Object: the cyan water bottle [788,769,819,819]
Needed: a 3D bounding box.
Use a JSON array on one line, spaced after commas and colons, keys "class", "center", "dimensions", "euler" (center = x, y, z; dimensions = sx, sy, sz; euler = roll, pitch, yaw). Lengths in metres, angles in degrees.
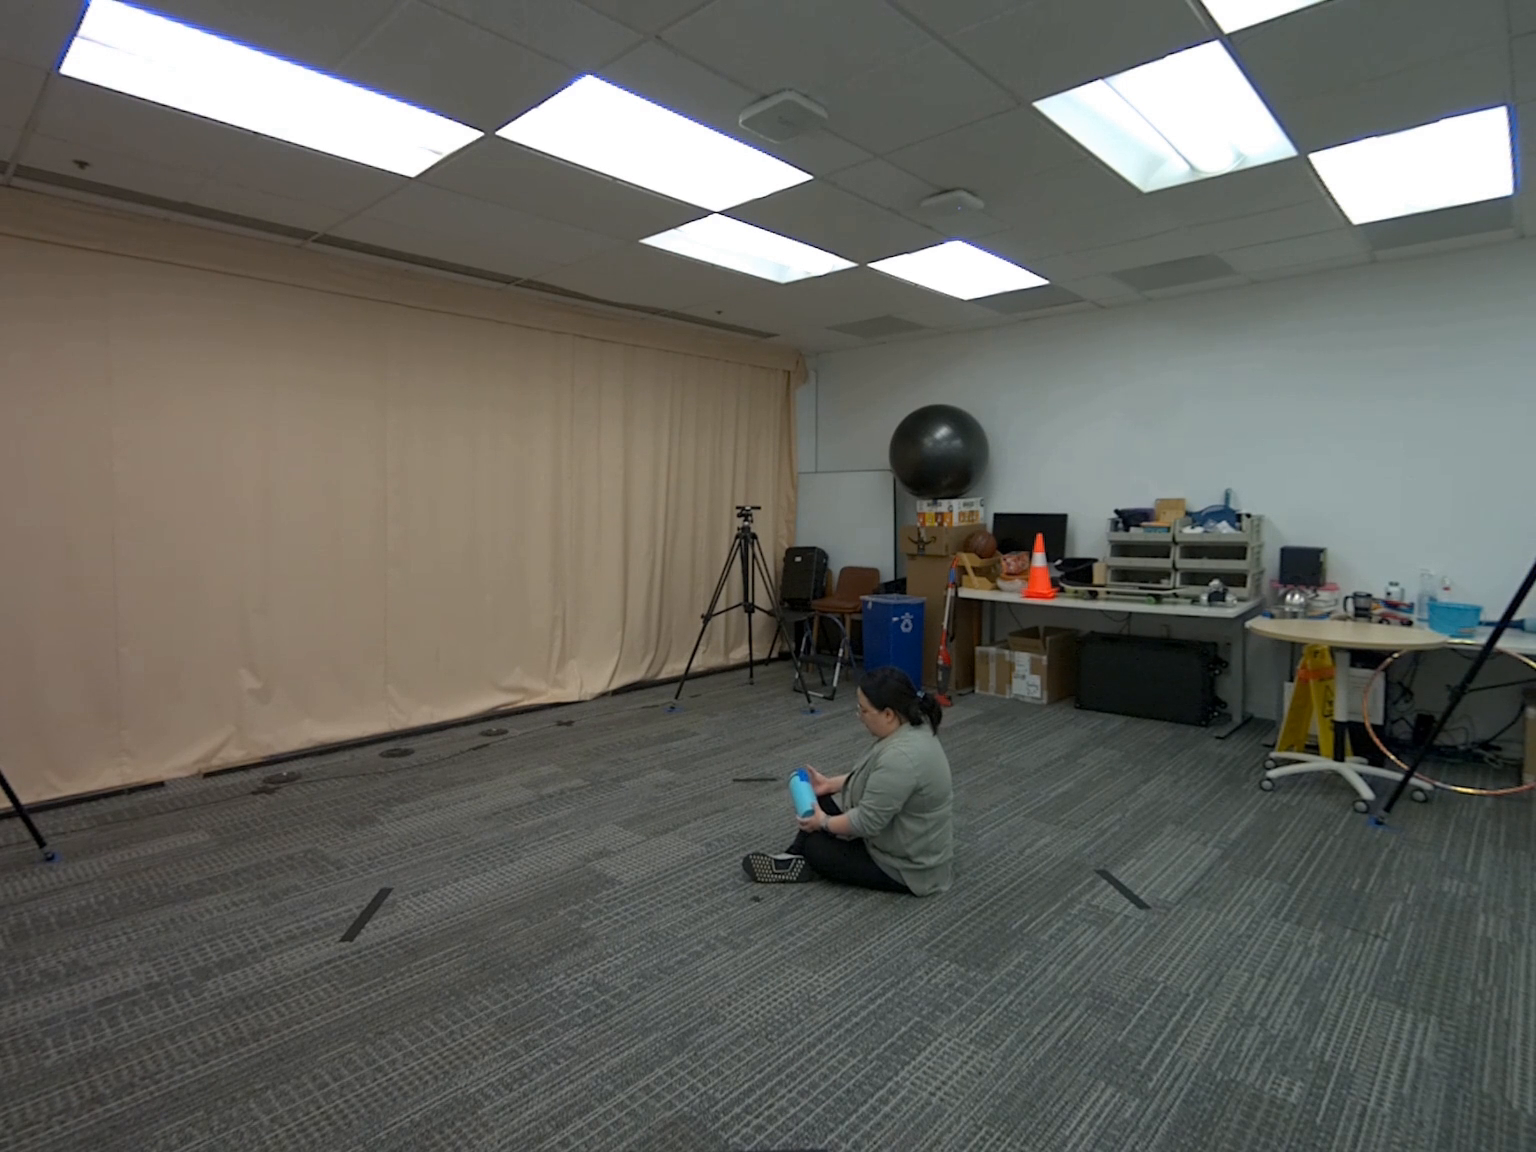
[{"class": "cyan water bottle", "center": [0.147, 0.865, 3.300], "dimensions": [0.091, 0.091, 0.289], "euler": [-1, 21, -8]}]
